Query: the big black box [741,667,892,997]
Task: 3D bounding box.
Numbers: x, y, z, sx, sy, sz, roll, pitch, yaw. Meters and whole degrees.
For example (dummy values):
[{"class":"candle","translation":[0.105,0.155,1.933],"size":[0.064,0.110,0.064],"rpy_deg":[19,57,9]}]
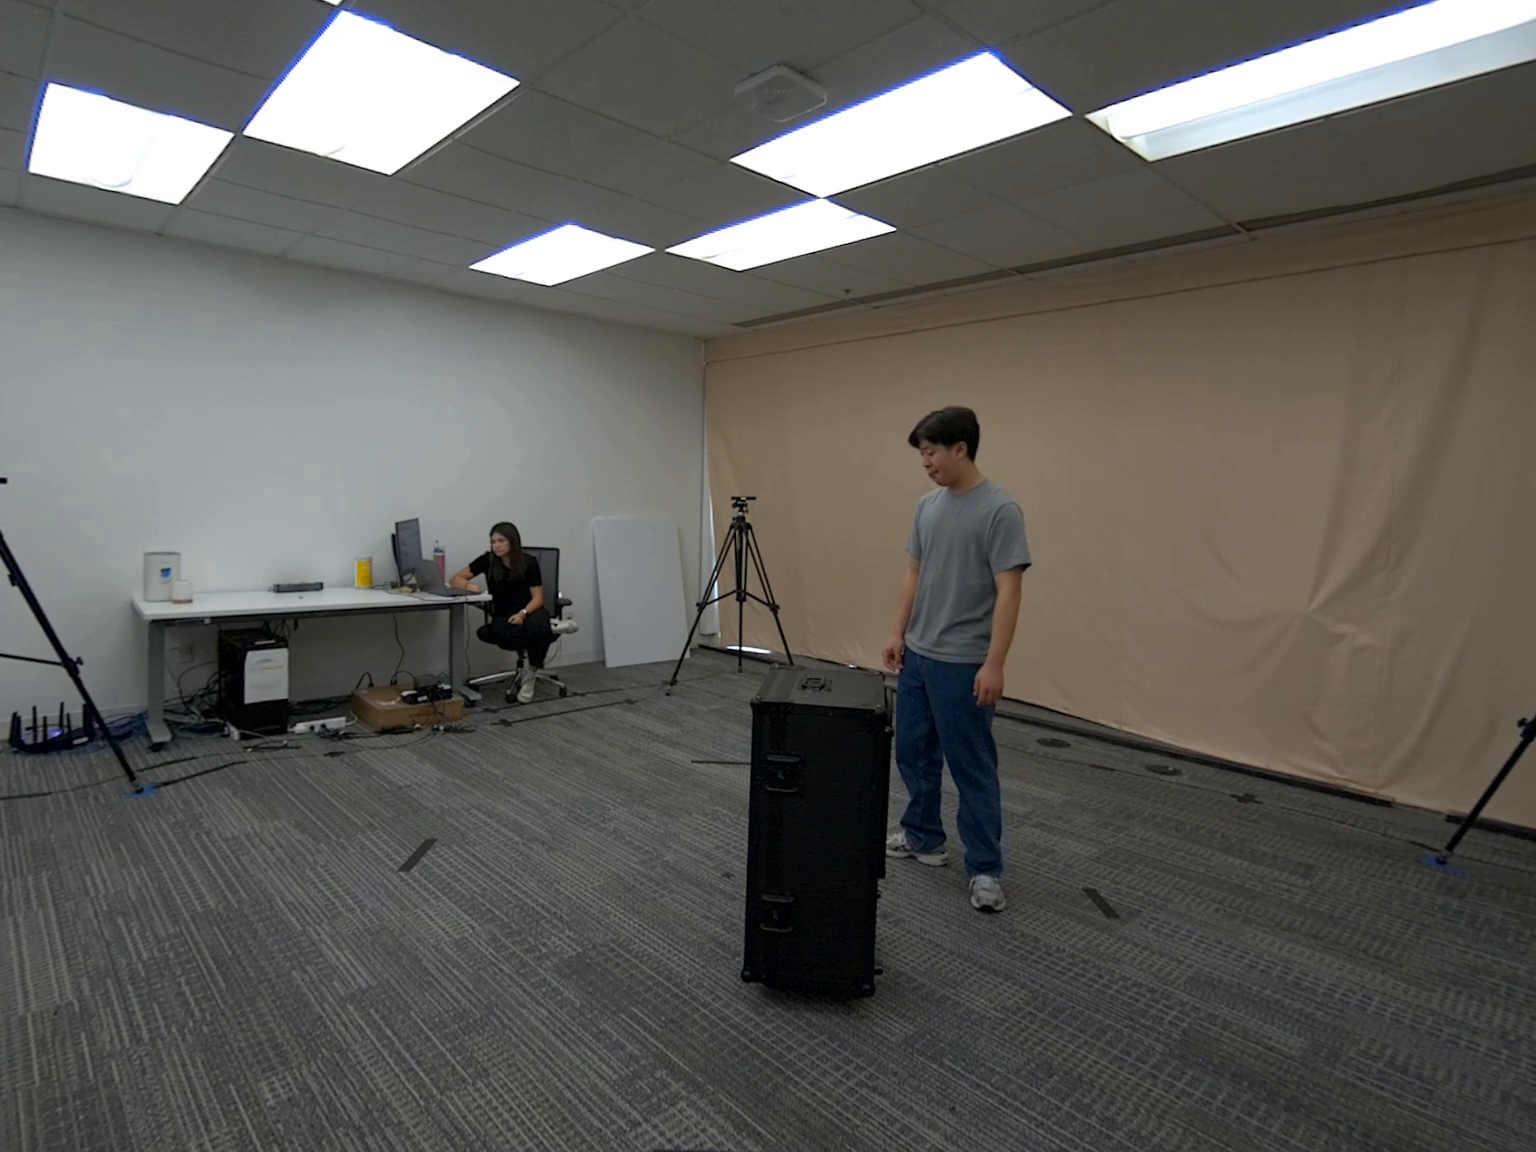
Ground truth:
[{"class":"big black box","translation":[0.155,0.745,2.487],"size":[0.399,0.859,0.519],"rpy_deg":[3,4,8]}]
